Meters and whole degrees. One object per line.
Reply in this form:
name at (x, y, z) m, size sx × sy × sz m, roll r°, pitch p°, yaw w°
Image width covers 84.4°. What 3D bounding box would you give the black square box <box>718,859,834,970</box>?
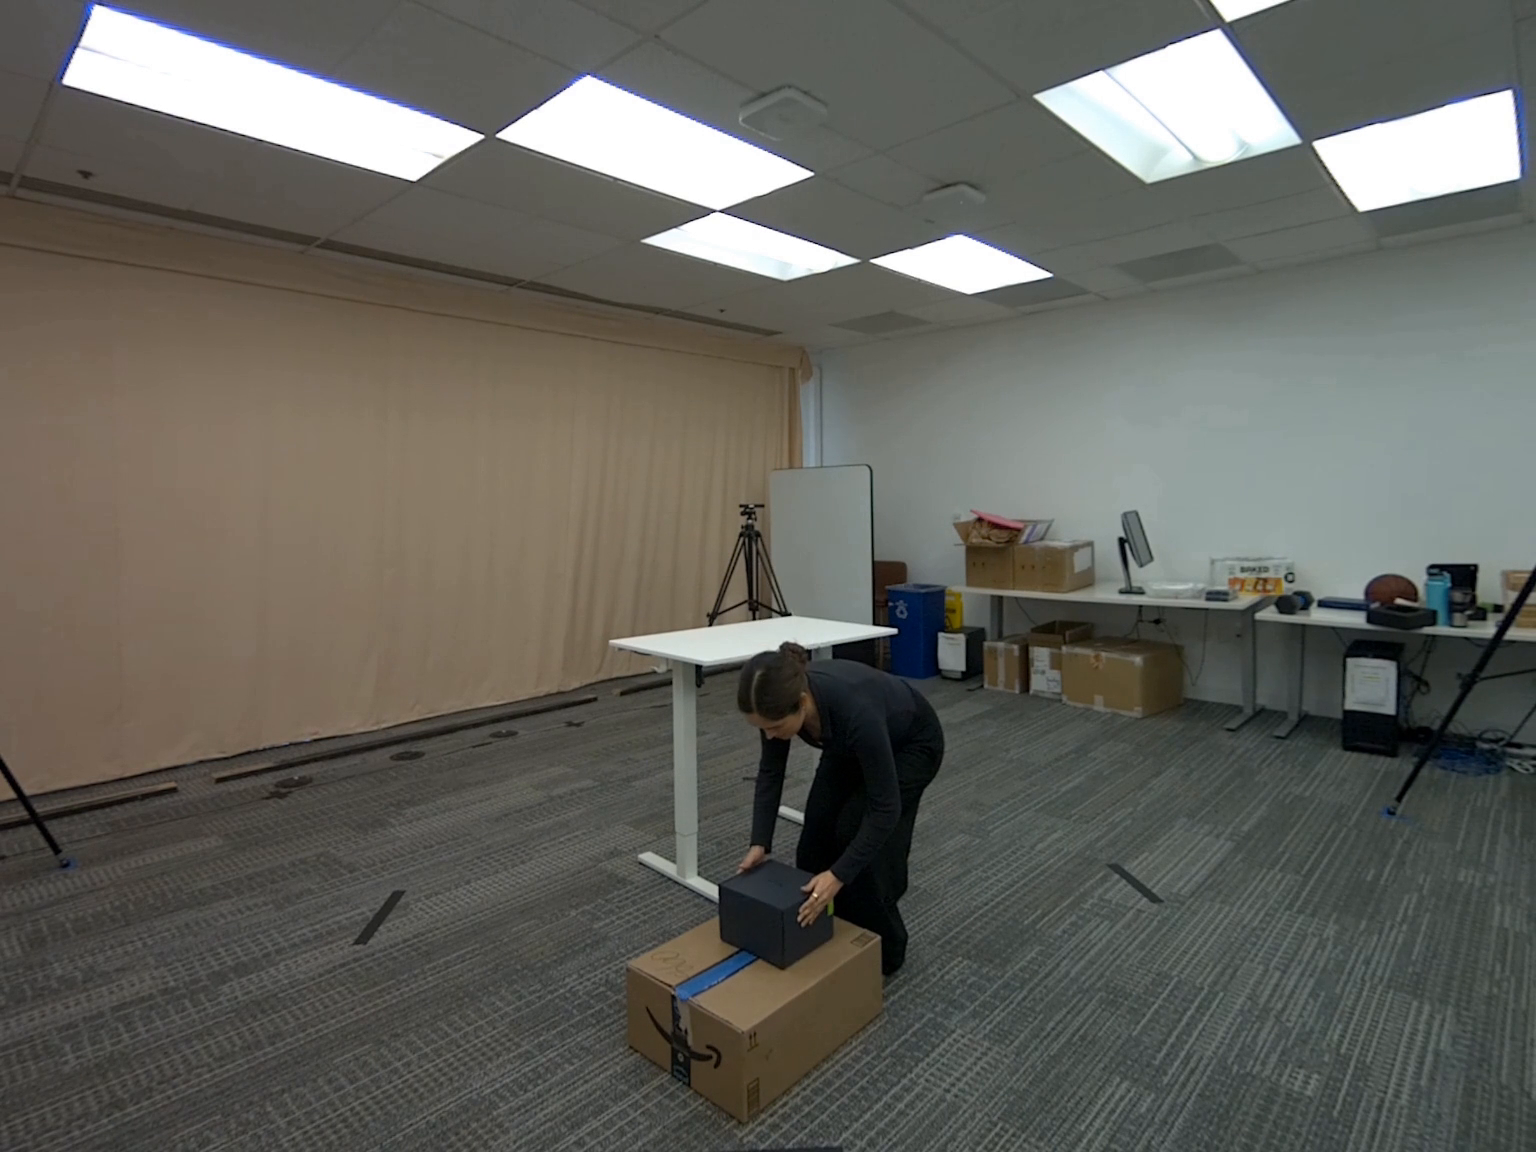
black square box at (0.027, 0.902, 2.258) m, size 0.235 × 0.155 × 0.210 m, roll 4°, pitch 7°, yaw 42°
